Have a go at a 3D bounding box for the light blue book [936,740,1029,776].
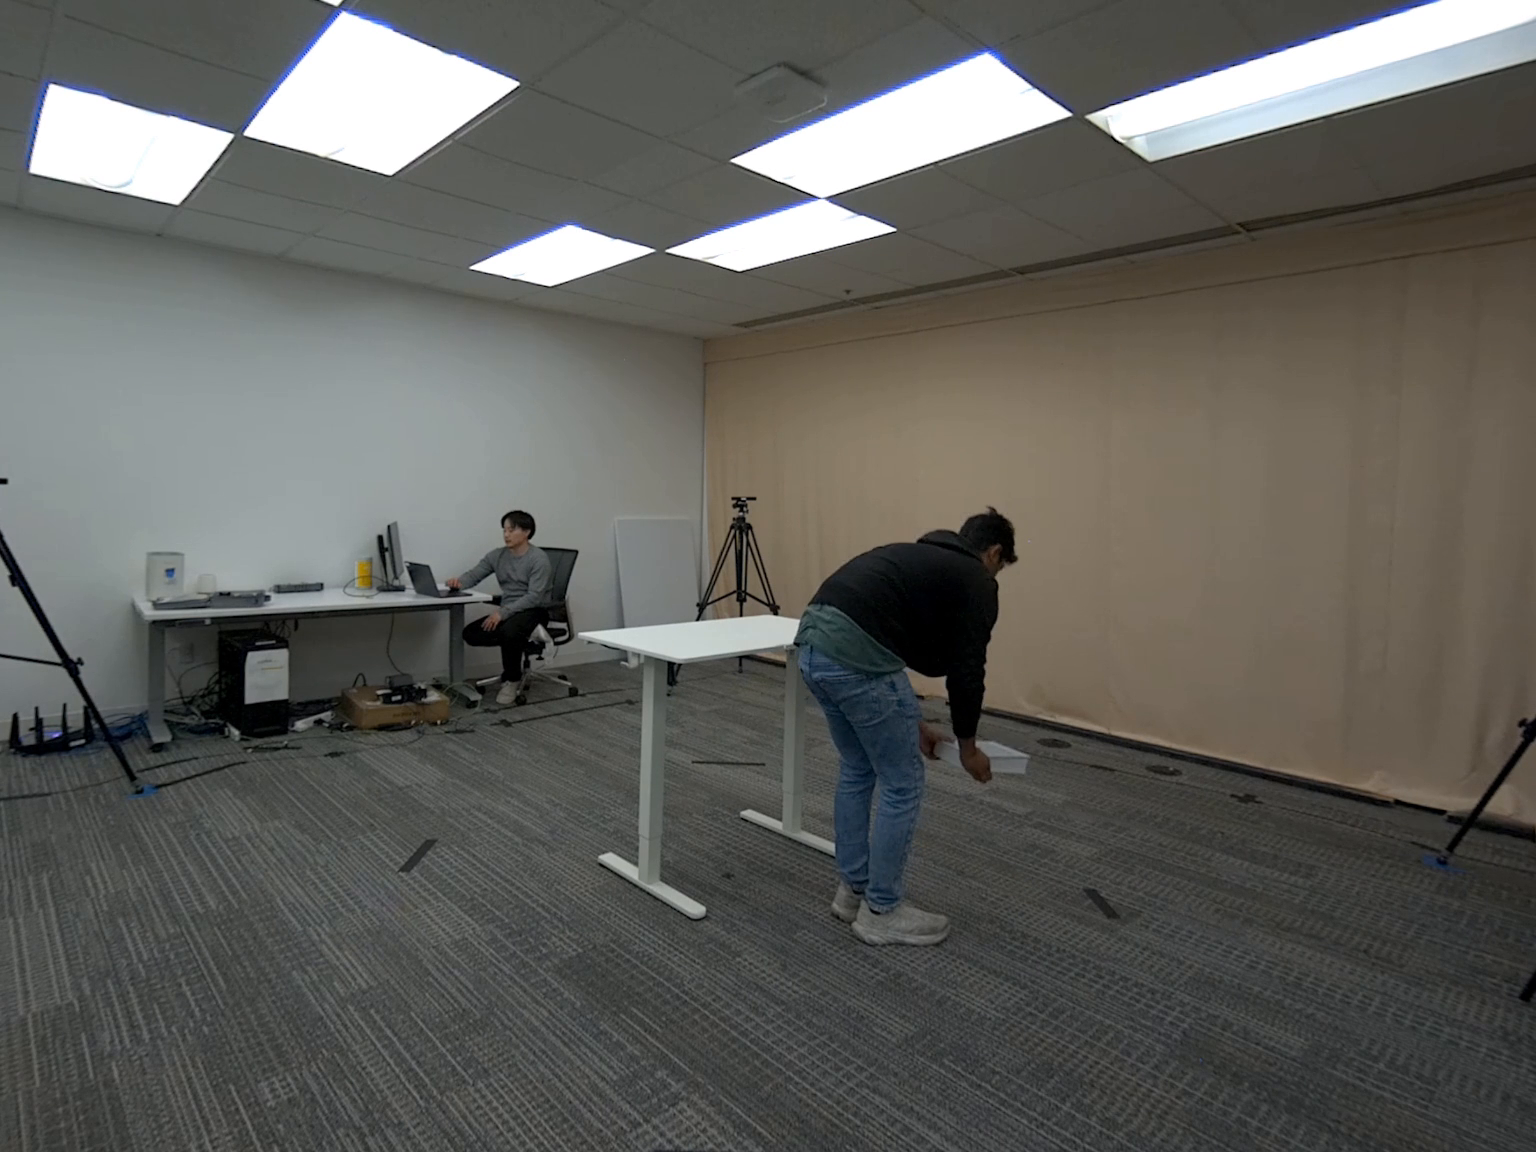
[{"bbox_3d":[0.736,0.625,2.927,0.255,0.059,0.196,6,3,-29],"label":"light blue book"}]
